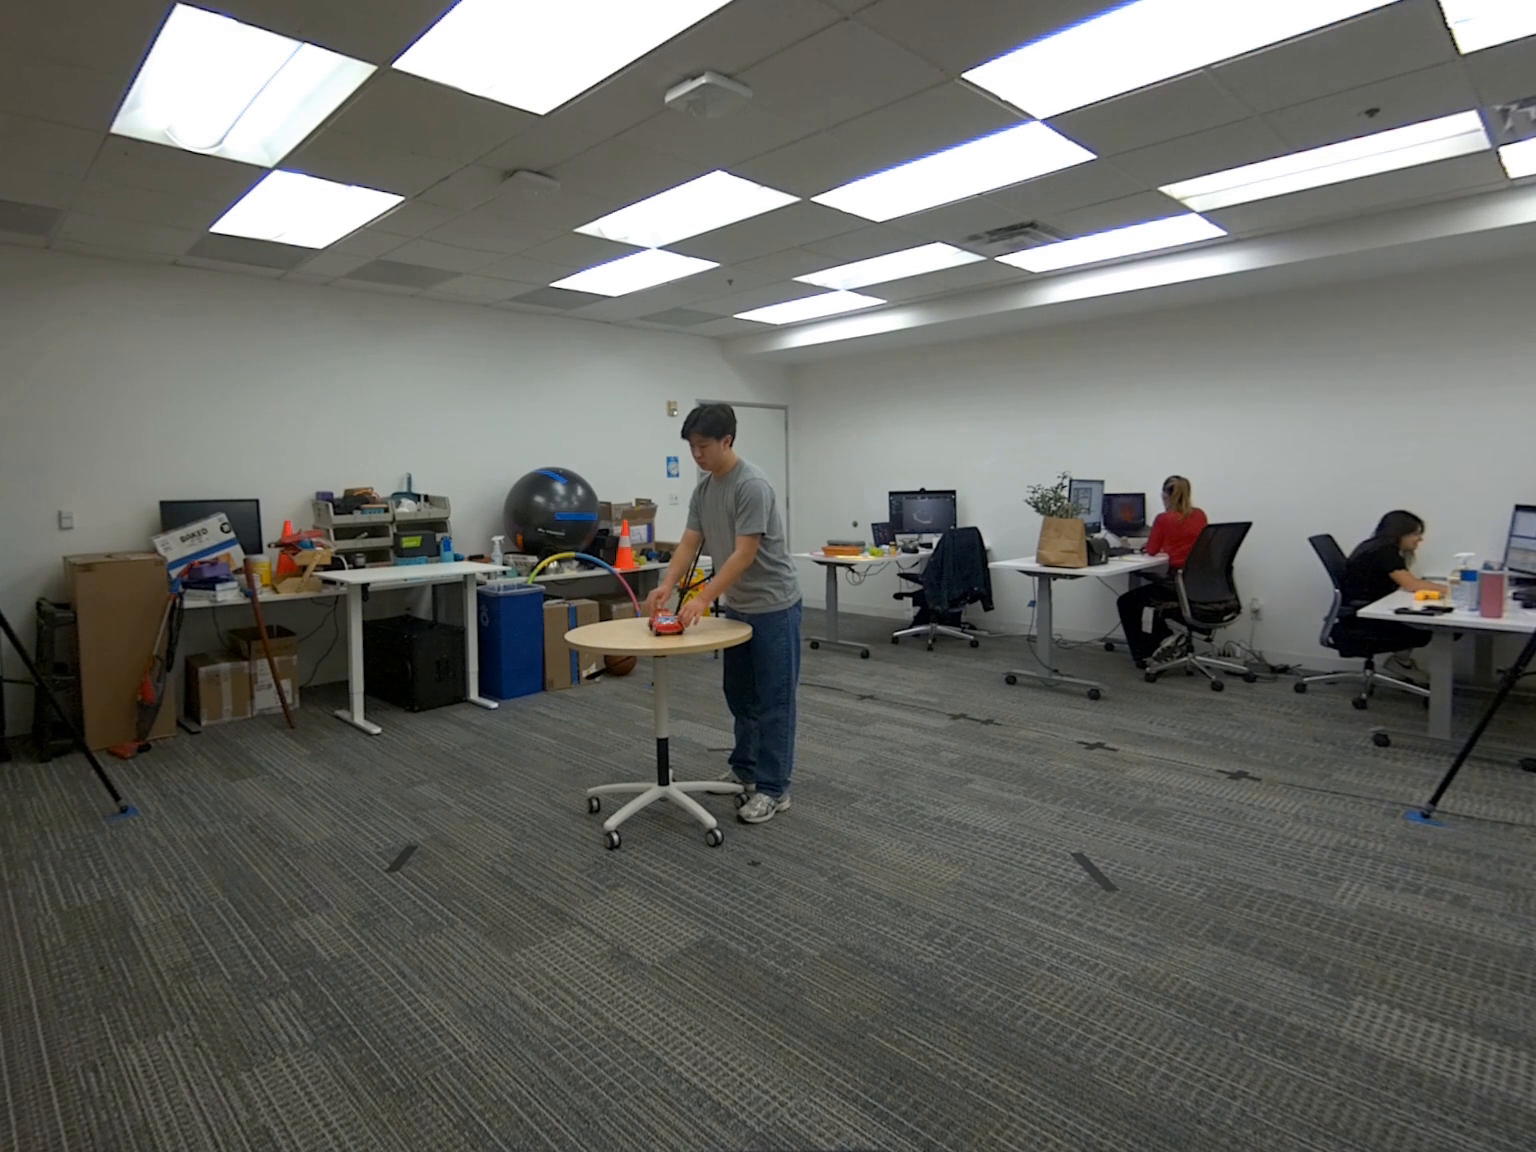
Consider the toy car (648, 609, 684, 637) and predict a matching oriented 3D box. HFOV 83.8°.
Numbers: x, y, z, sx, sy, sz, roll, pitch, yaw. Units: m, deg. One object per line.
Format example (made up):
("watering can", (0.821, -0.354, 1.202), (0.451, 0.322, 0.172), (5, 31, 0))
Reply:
("toy car", (-0.420, 0.195, 3.487), (0.129, 0.082, 0.261), (-3, 17, -13))
